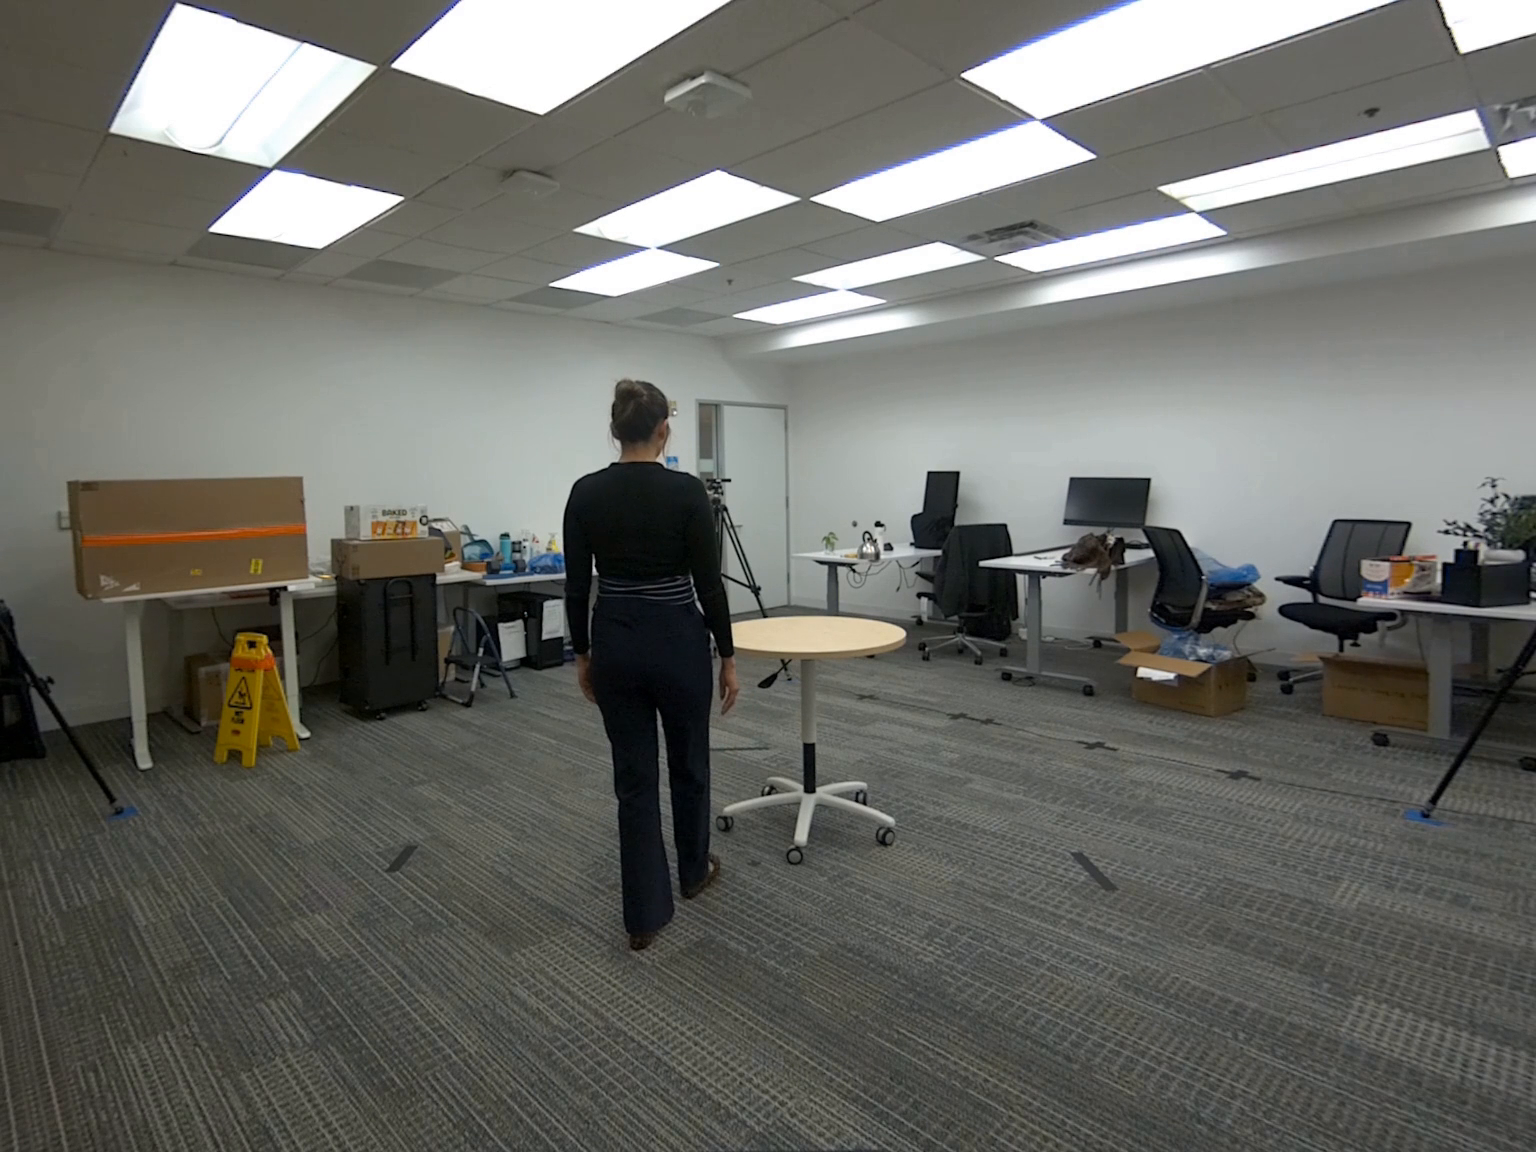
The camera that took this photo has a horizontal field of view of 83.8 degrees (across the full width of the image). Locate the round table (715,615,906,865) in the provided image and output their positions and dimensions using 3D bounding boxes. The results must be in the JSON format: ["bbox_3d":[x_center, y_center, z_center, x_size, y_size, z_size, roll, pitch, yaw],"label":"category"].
[{"bbox_3d":[0.165,0.617,3.411,0.763,0.791,0.768,-1,5,-2],"label":"round table"}]
